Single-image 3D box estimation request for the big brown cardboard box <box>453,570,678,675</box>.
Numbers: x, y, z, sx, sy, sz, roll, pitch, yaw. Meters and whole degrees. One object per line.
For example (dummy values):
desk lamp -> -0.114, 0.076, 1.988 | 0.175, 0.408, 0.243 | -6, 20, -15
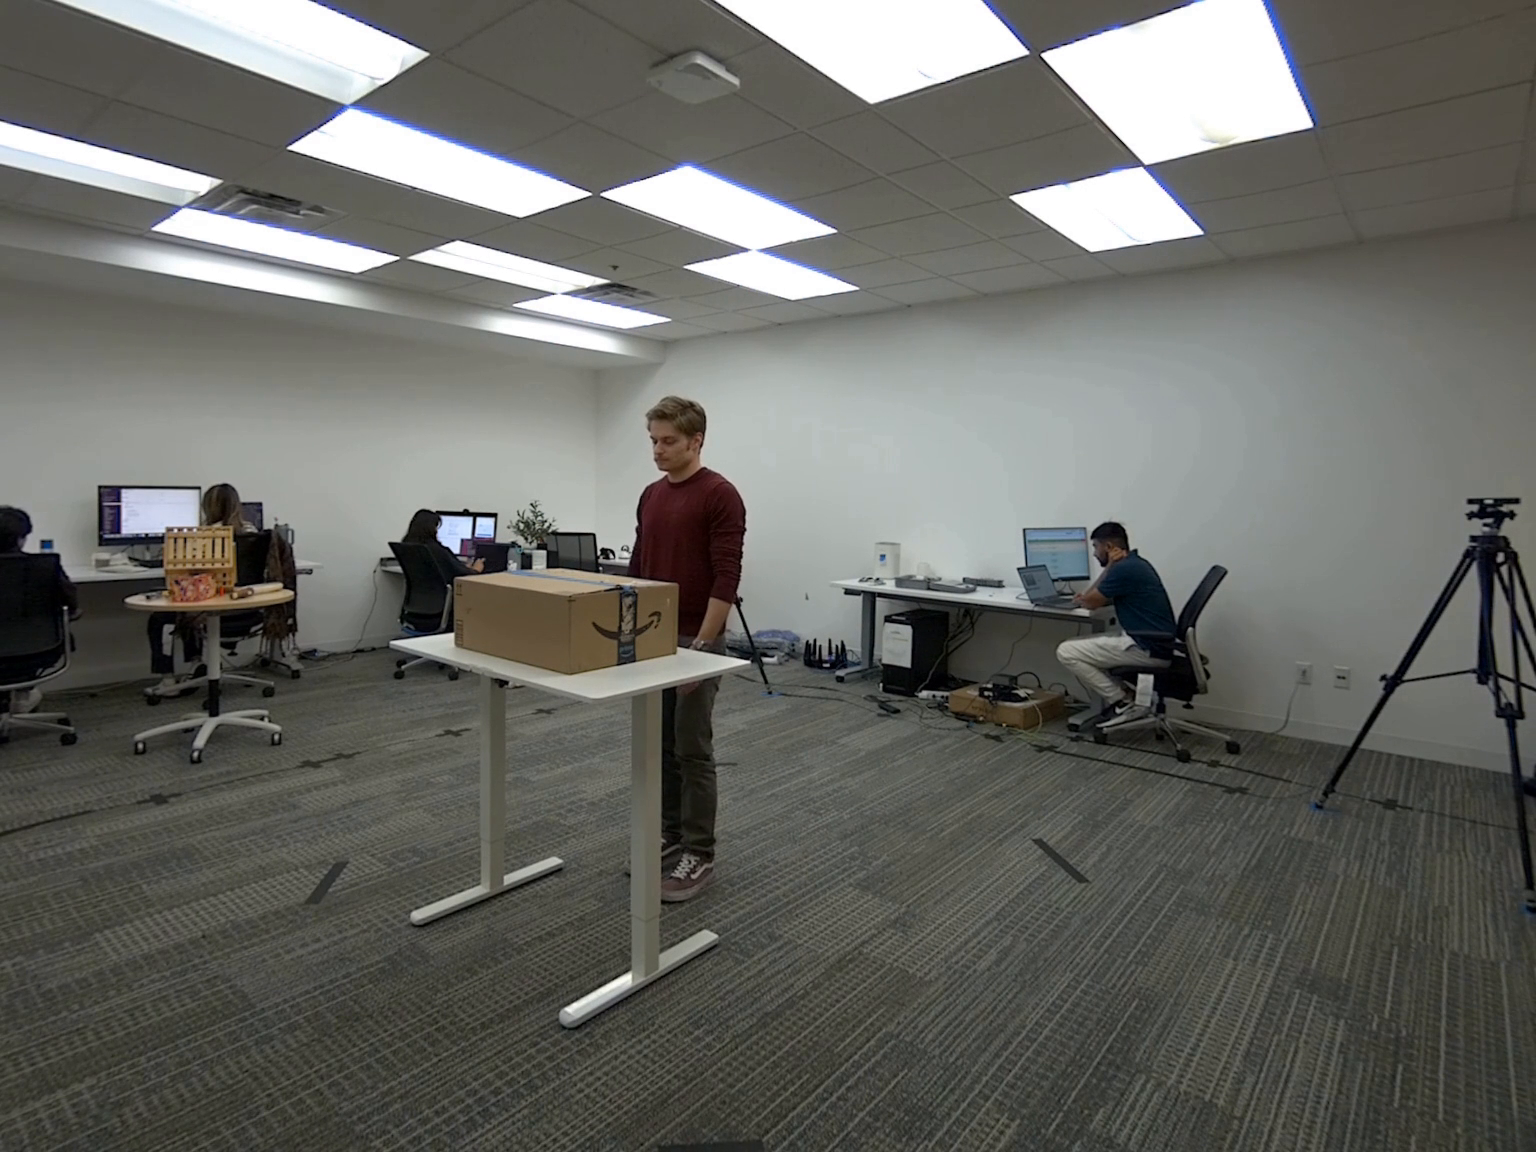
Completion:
big brown cardboard box -> -0.625, 0.115, 2.604 | 0.609, 0.232, 0.405 | 5, 7, 39
